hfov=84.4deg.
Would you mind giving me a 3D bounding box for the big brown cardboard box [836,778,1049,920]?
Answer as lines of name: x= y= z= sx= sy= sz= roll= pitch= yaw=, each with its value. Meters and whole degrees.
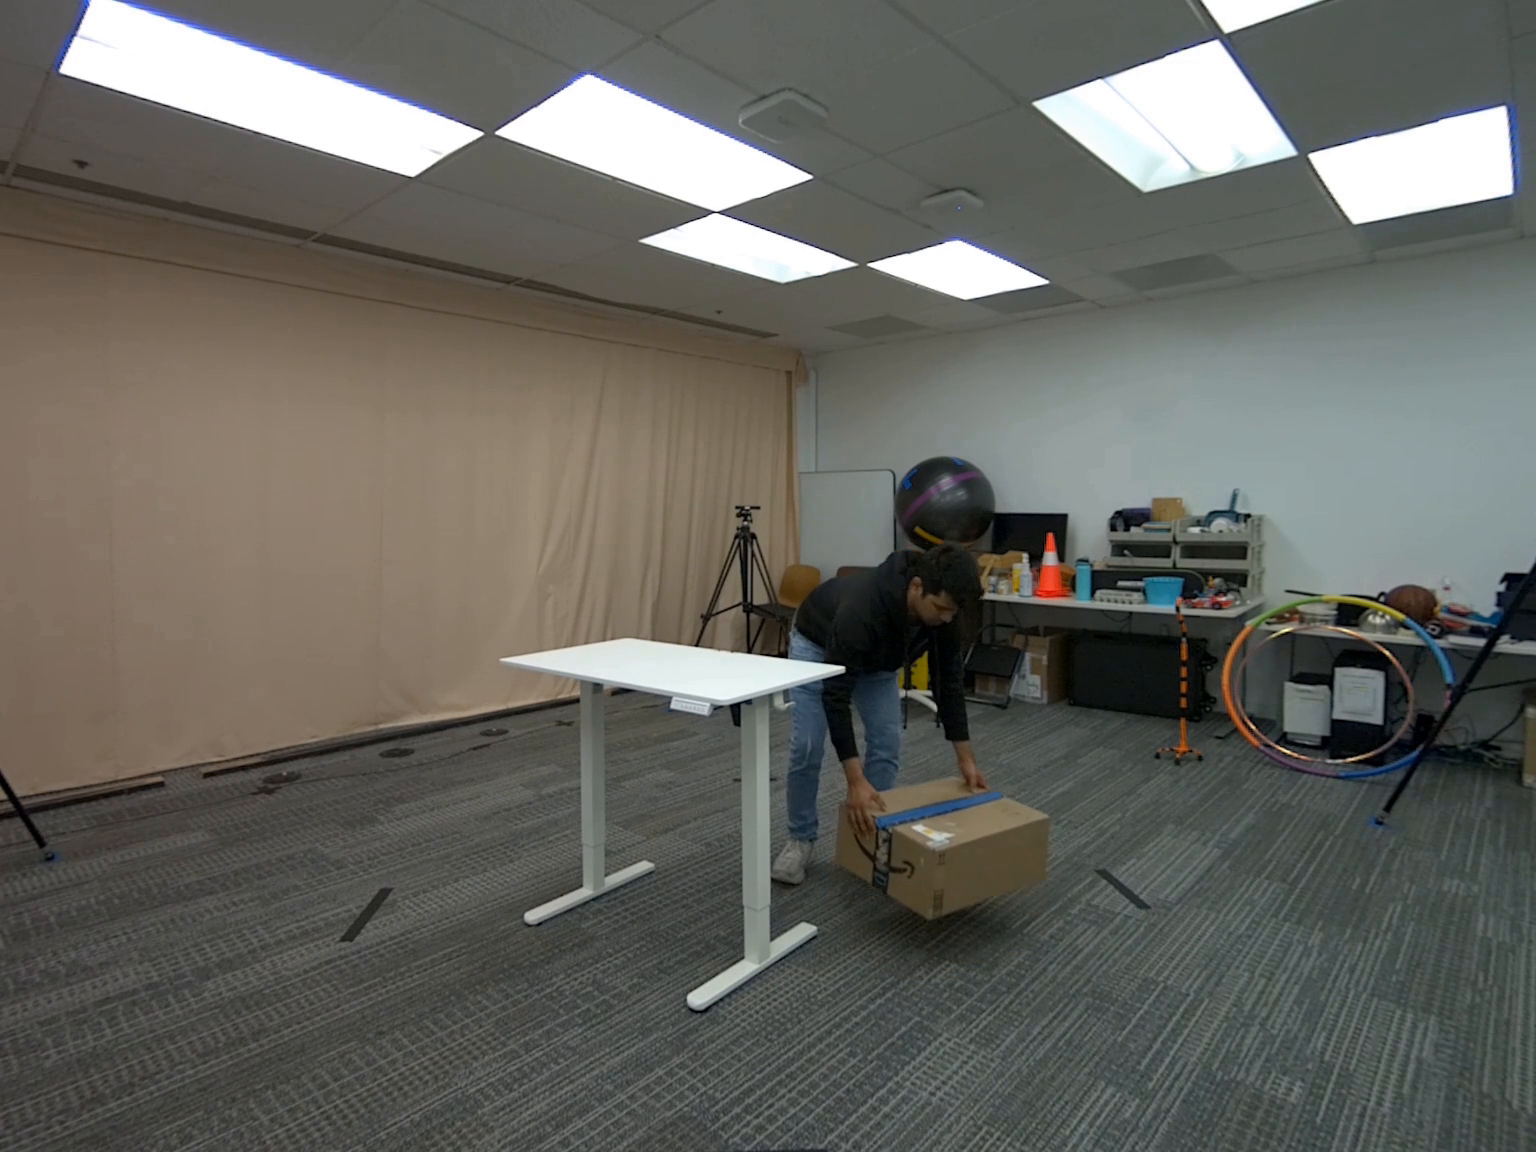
big brown cardboard box: x=0.578 y=0.871 z=2.780 sx=0.571 sy=0.232 sz=0.431 roll=0 pitch=7 yaw=-35
